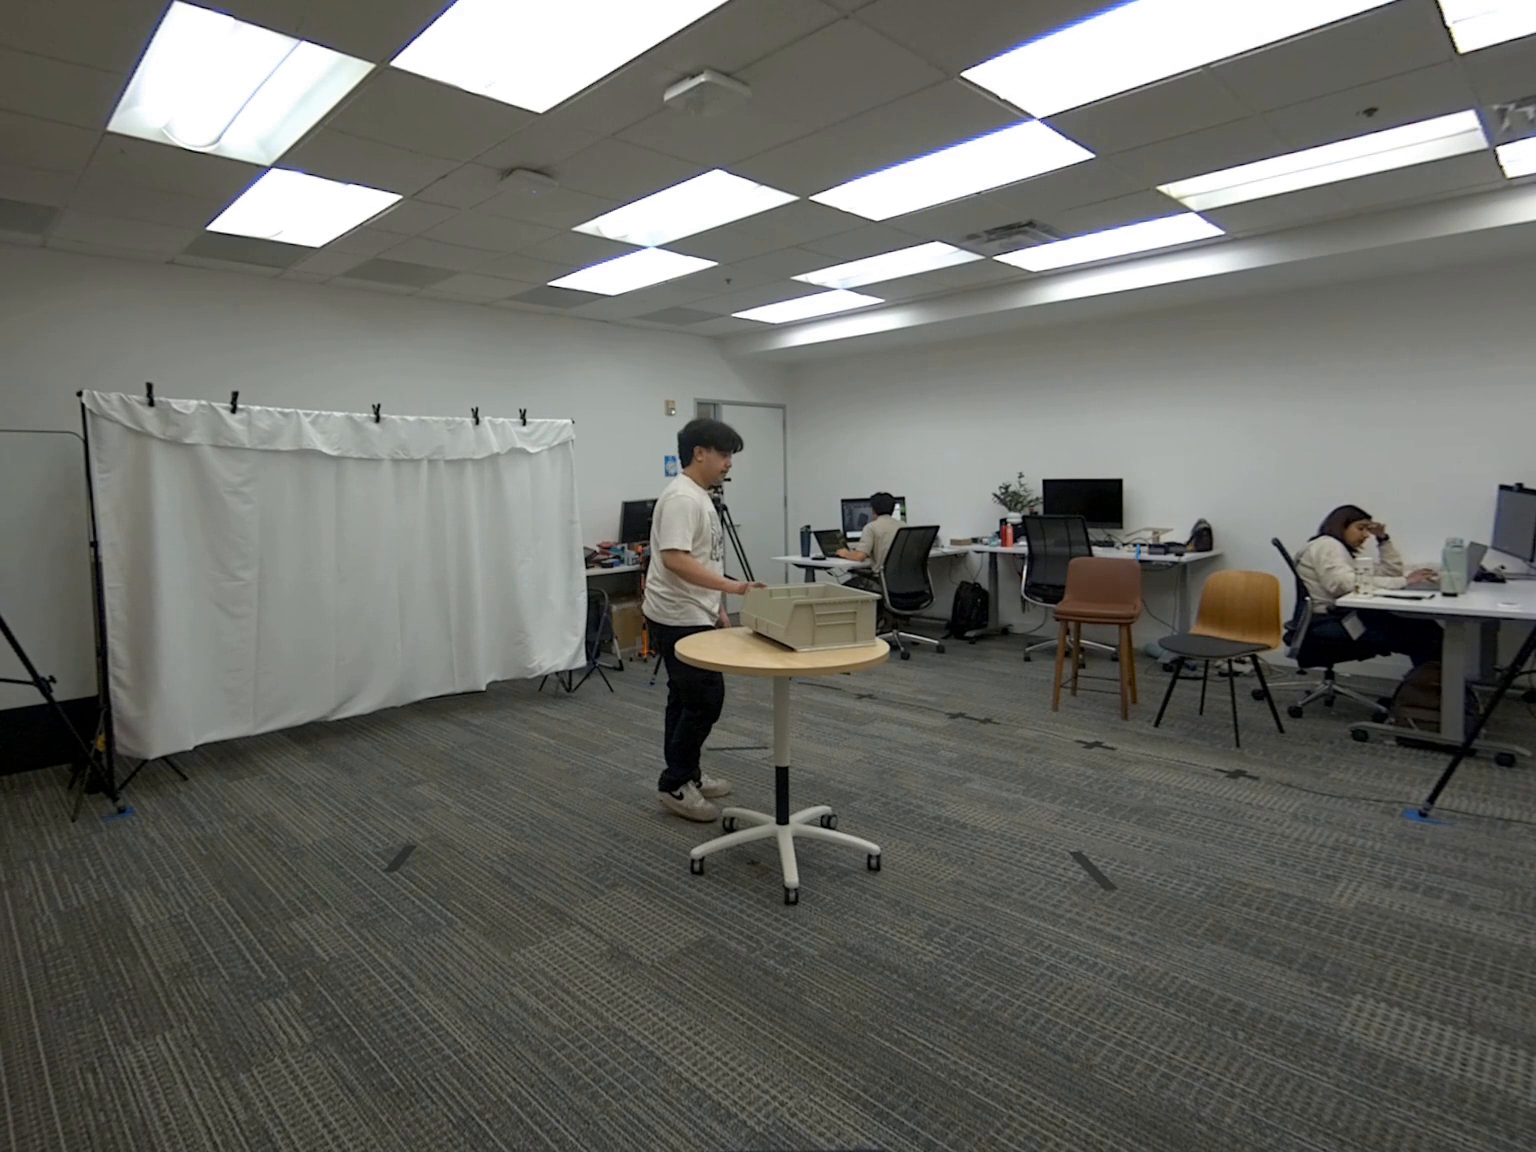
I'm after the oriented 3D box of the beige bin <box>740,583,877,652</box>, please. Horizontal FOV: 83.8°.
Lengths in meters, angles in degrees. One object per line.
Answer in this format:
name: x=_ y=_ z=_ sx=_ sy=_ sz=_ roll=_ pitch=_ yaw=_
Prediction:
beige bin: x=0.149 y=0.147 z=3.155 sx=0.370 sy=0.188 sz=0.432 roll=-2 pitch=6 yaw=-21
